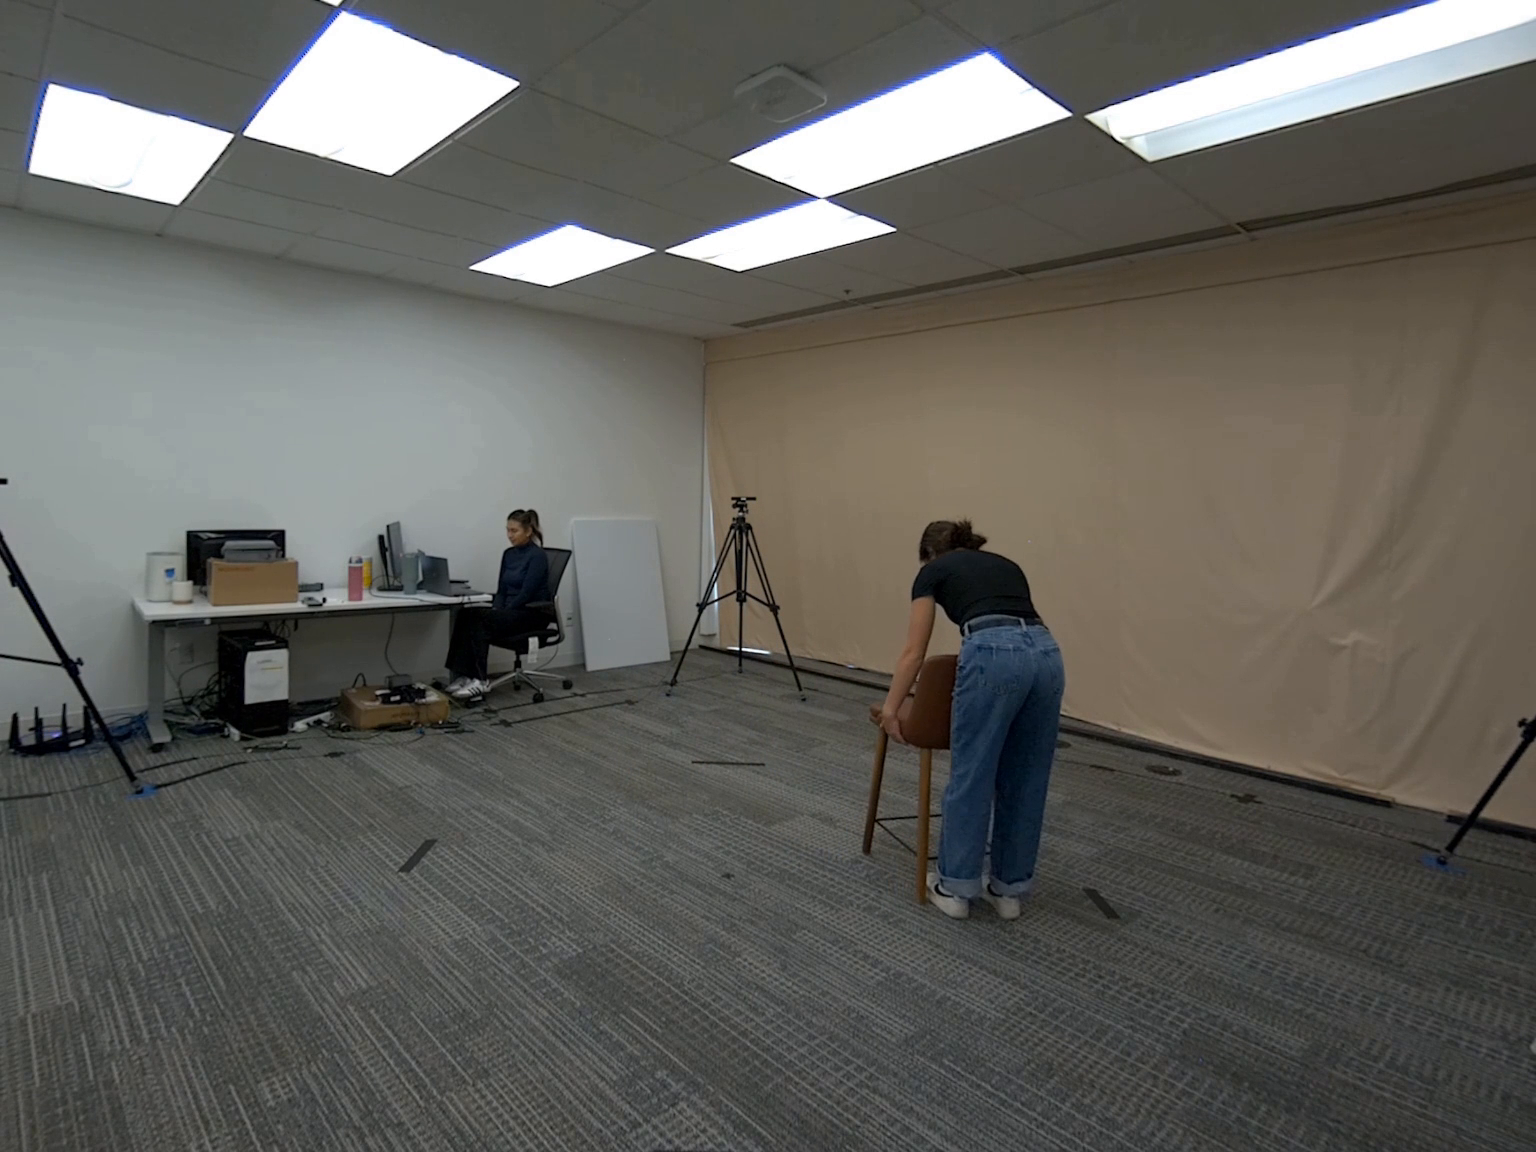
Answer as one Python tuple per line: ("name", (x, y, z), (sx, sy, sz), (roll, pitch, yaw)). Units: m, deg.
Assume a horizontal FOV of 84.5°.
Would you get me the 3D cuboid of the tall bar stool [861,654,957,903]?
("tall bar stool", (0.648, 0.684, 3.160), (0.451, 0.887, 0.475), (1, 5, -17))
